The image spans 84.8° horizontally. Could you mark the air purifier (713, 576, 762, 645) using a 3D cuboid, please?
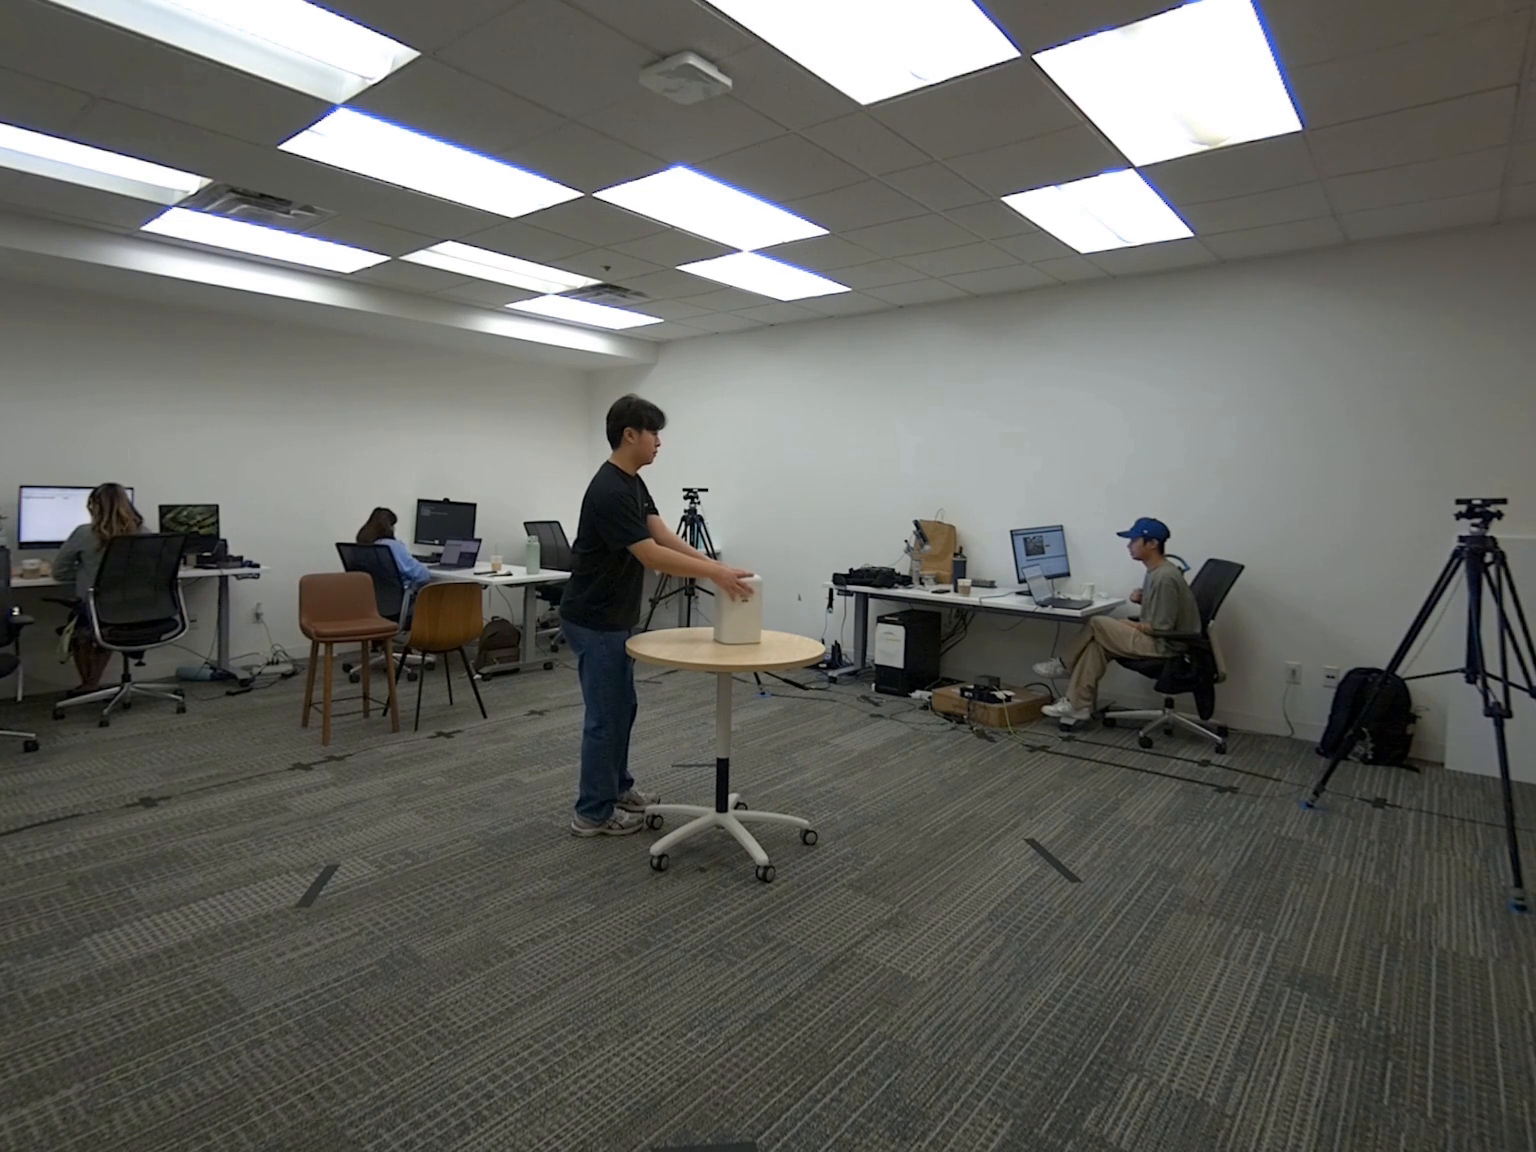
[{"bbox_3d":[-0.127,0.122,3.343,0.169,0.264,0.174,2,4,-14],"label":"air purifier"}]
